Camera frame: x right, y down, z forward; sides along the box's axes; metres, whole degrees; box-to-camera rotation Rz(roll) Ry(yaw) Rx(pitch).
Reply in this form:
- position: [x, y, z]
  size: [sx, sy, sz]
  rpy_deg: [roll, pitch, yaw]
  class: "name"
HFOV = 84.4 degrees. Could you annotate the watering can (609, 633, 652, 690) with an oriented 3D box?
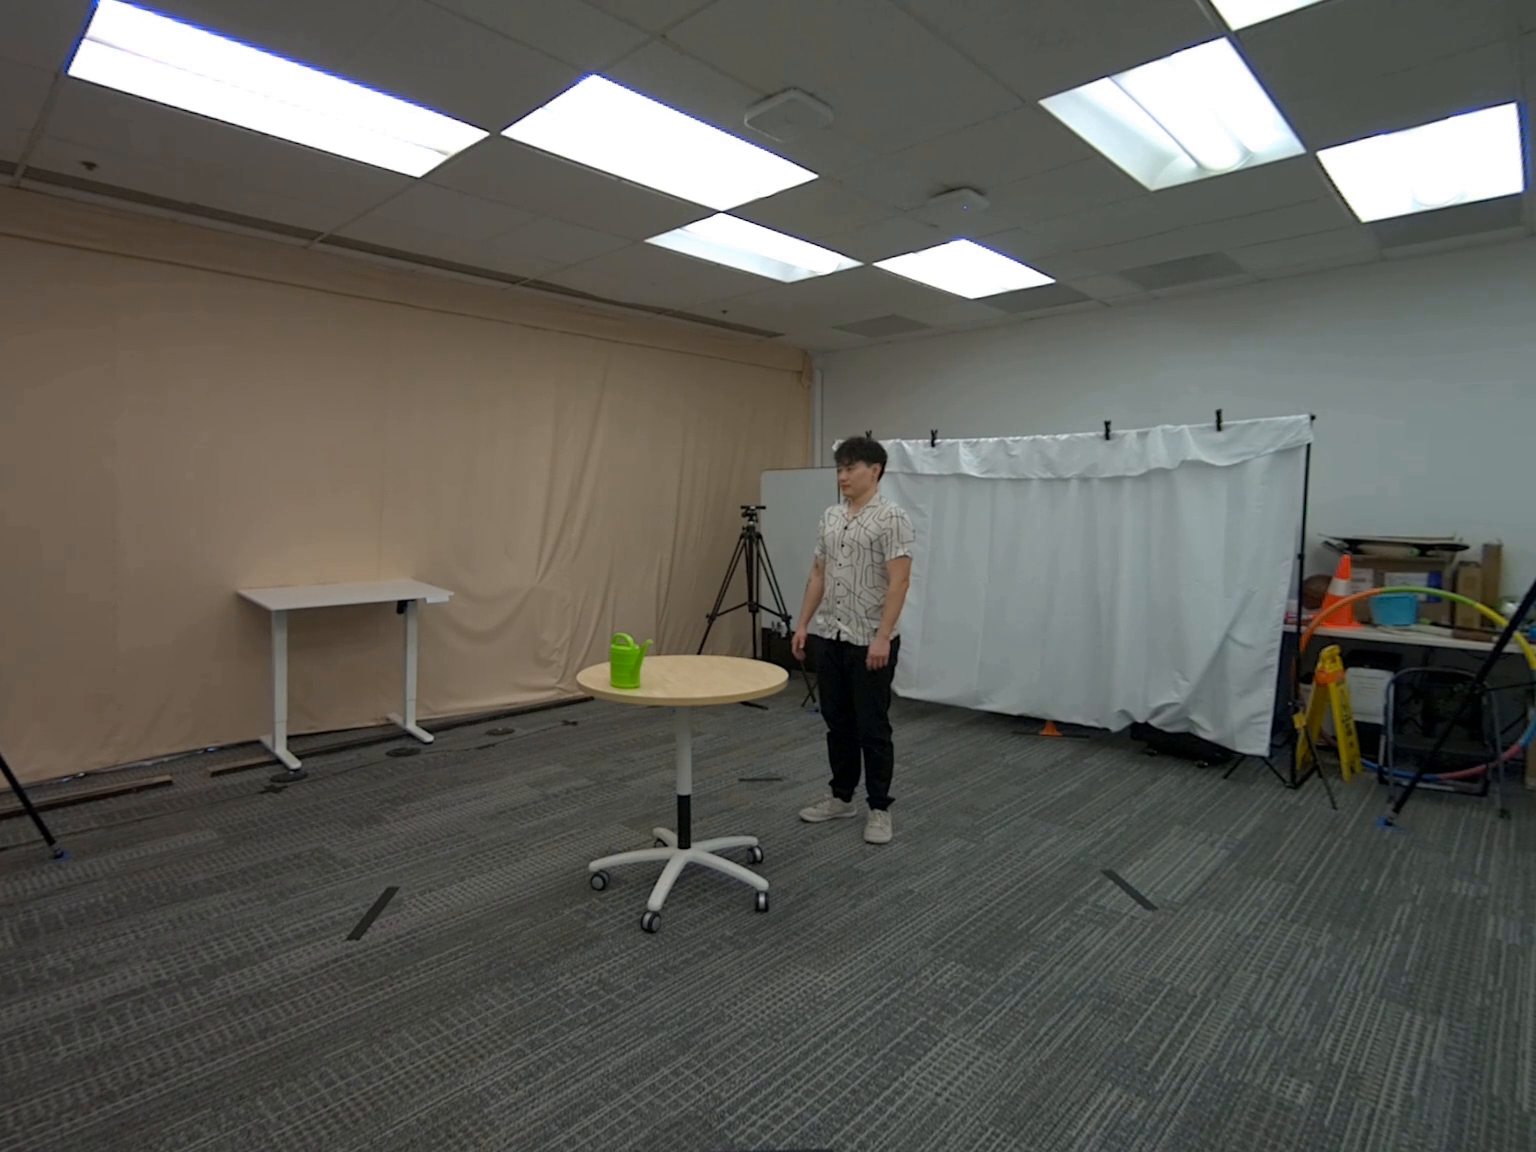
- position: [-0.463, 0.286, 2.814]
  size: [0.096, 0.177, 0.284]
  rpy_deg: [3, 0, -22]
  class: "watering can"
